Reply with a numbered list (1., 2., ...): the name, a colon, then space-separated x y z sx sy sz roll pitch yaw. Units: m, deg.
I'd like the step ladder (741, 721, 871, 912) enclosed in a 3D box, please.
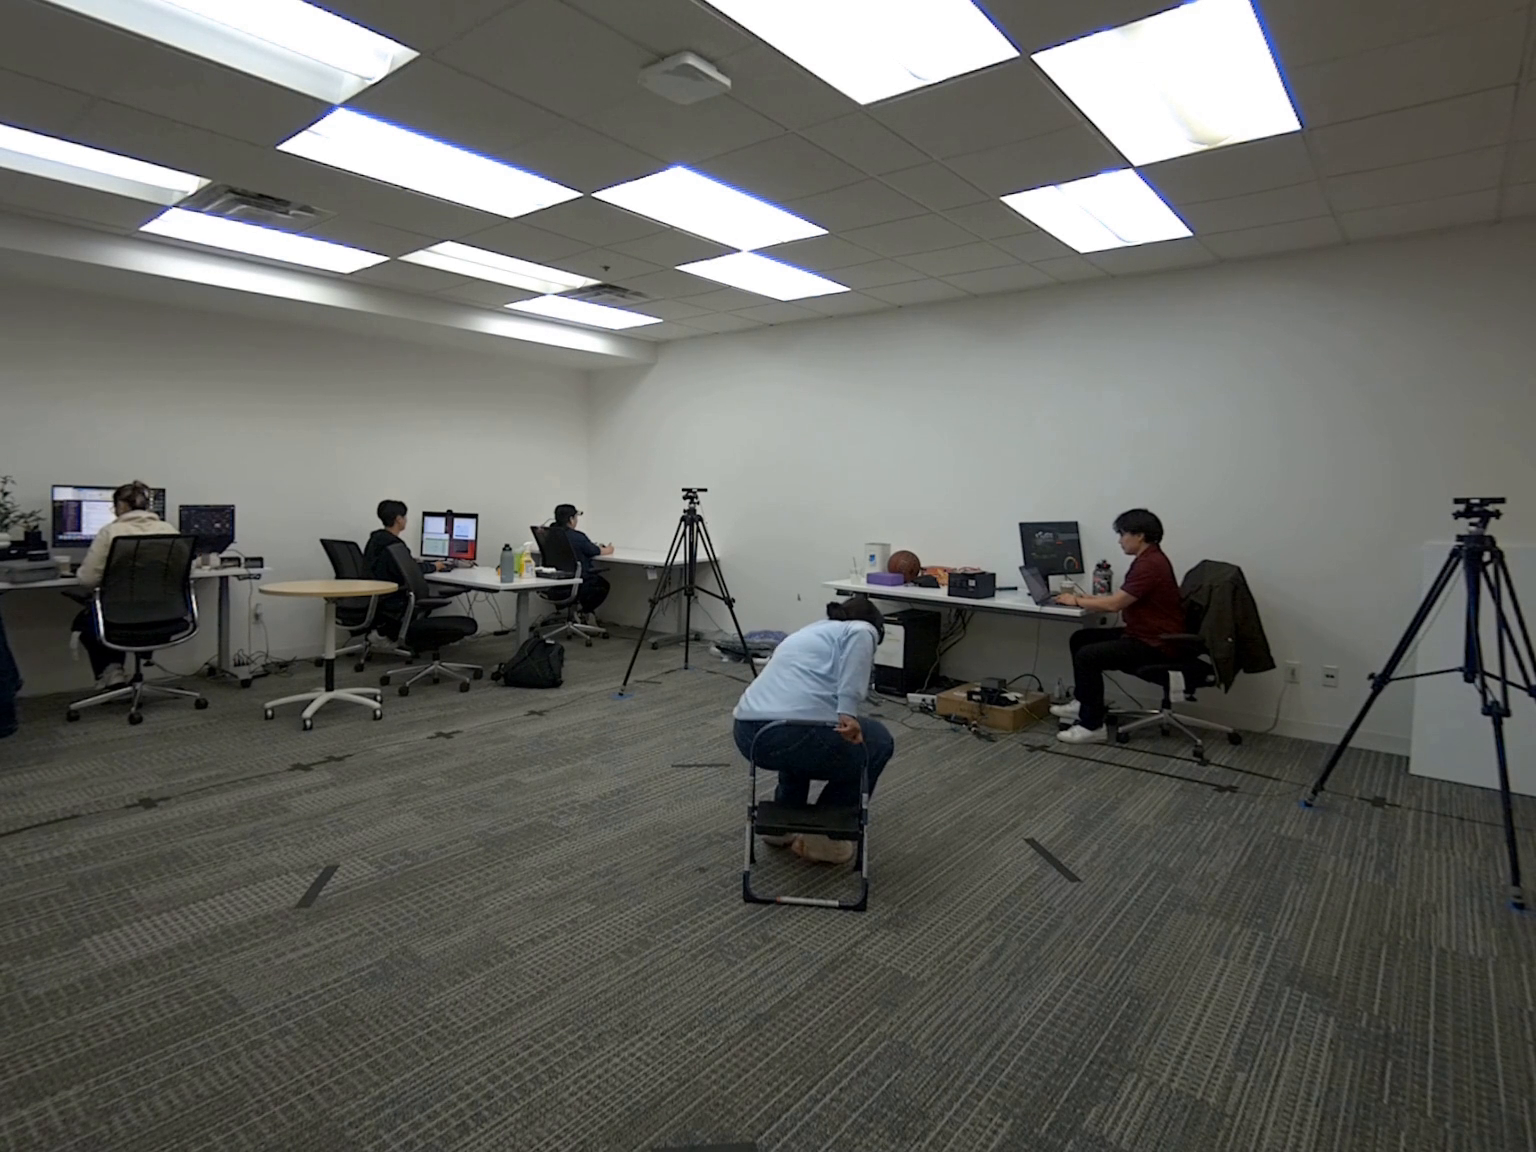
1. step ladder: 0.129 0.786 2.992 0.433 0.605 0.348 1 2 4
